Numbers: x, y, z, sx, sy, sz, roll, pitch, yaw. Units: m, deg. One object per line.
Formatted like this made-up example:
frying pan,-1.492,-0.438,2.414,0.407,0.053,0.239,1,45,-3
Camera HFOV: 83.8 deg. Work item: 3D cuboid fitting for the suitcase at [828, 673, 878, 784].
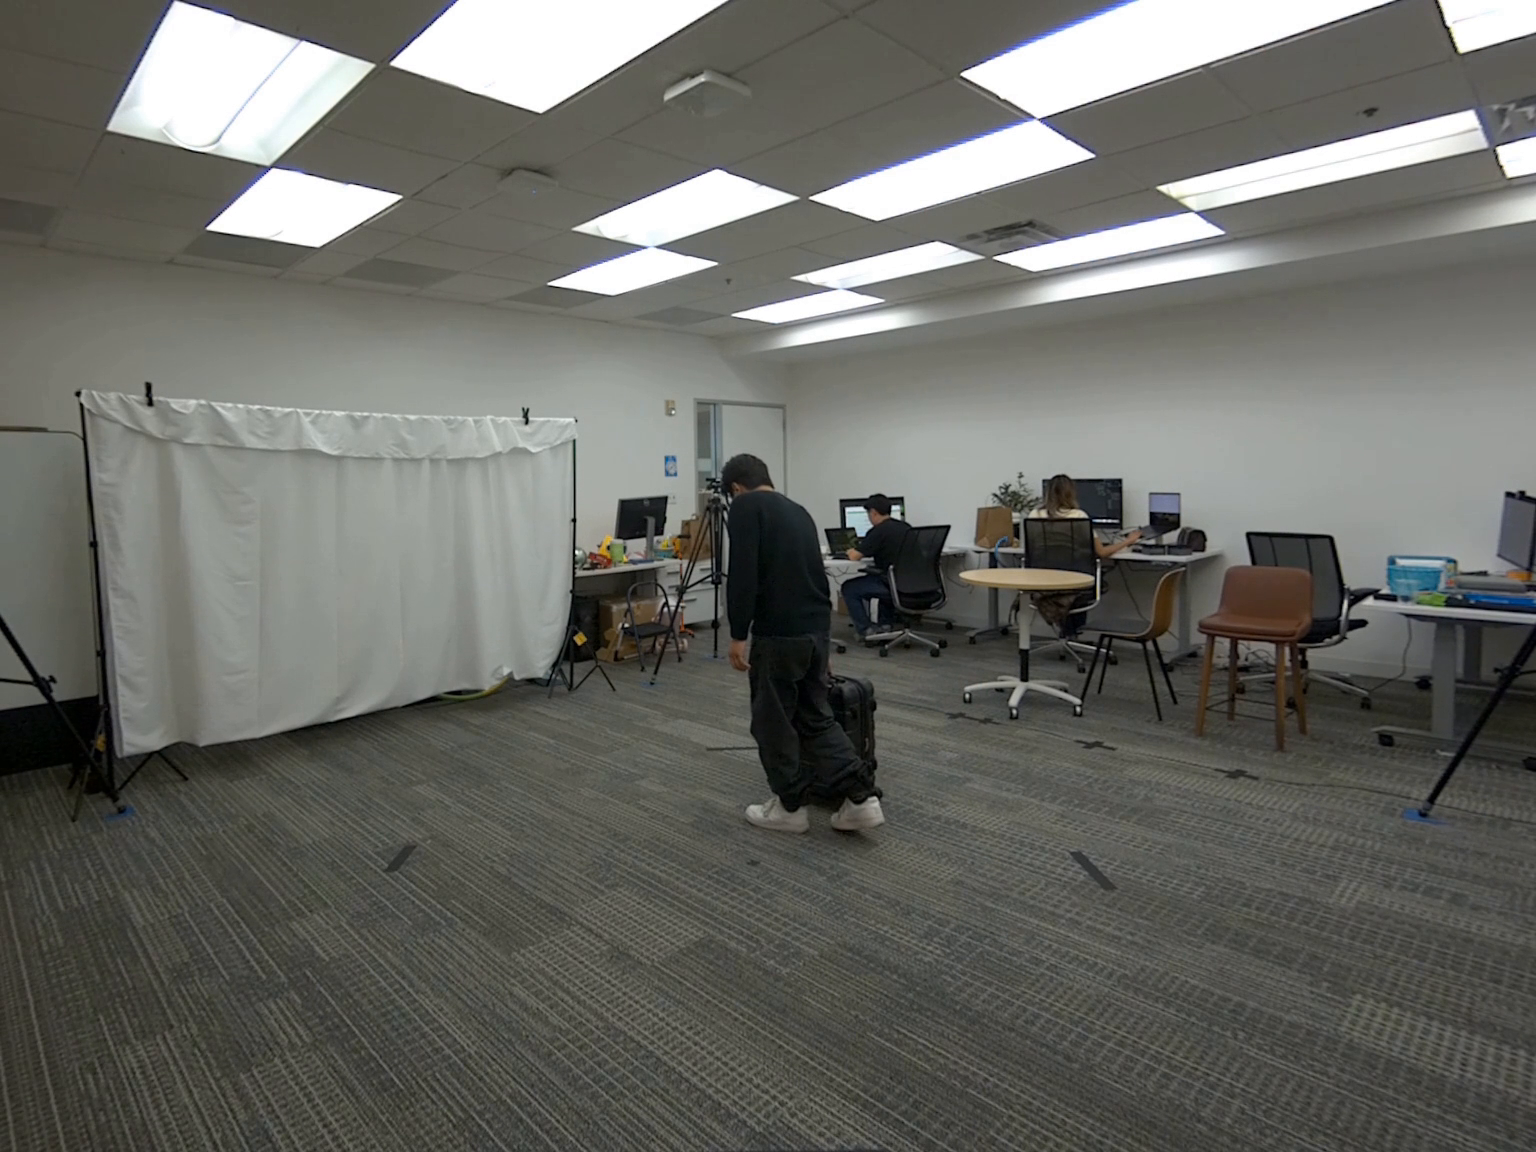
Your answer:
suitcase,0.273,0.696,3.700,0.386,0.548,0.242,1,4,39
